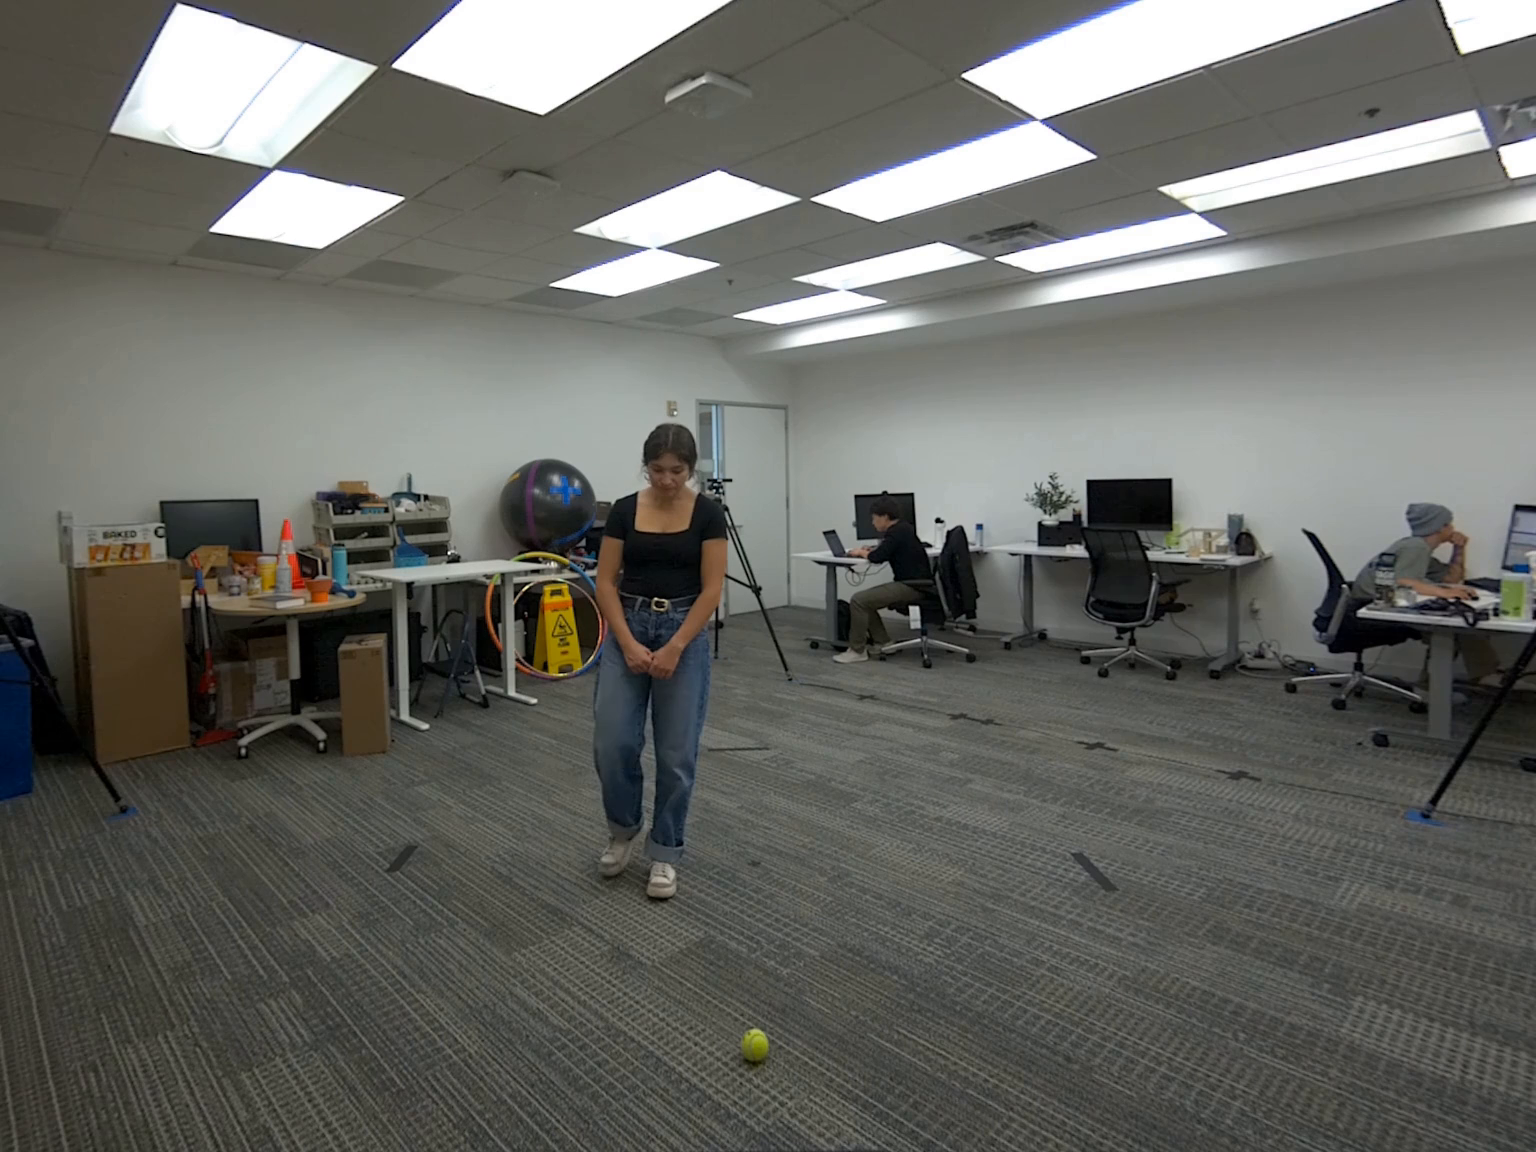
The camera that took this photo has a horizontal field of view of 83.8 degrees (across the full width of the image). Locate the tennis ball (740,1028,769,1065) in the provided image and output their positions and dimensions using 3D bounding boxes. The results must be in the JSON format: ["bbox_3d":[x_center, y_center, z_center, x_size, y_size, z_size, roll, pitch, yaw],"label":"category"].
[{"bbox_3d":[-0.031,1.126,2.064,0.066,0.066,0.067,-1,5,-2],"label":"tennis ball"}]
